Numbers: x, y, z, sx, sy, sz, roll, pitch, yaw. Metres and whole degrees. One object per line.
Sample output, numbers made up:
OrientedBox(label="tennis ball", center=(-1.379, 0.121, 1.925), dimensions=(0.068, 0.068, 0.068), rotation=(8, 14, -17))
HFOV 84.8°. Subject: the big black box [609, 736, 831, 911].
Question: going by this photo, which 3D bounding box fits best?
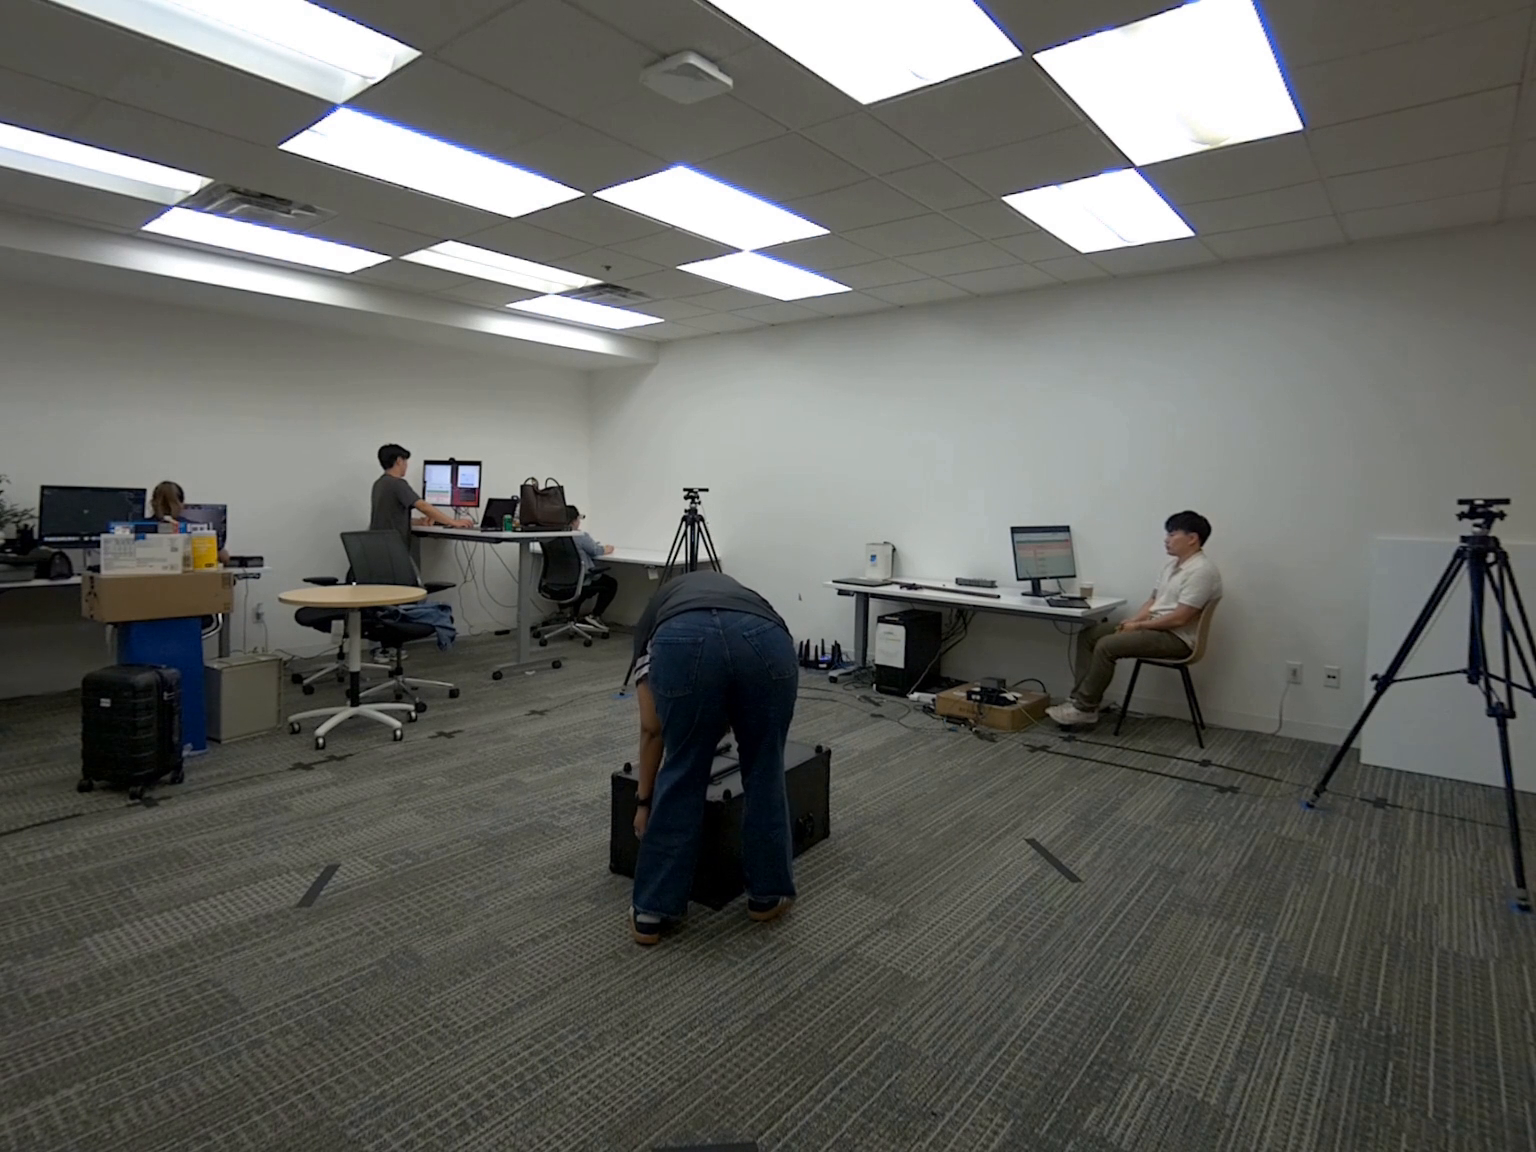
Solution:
OrientedBox(label="big black box", center=(-0.156, 0.870, 3.277), dimensions=(0.539, 0.384, 0.844), rotation=(2, 4, 33))
